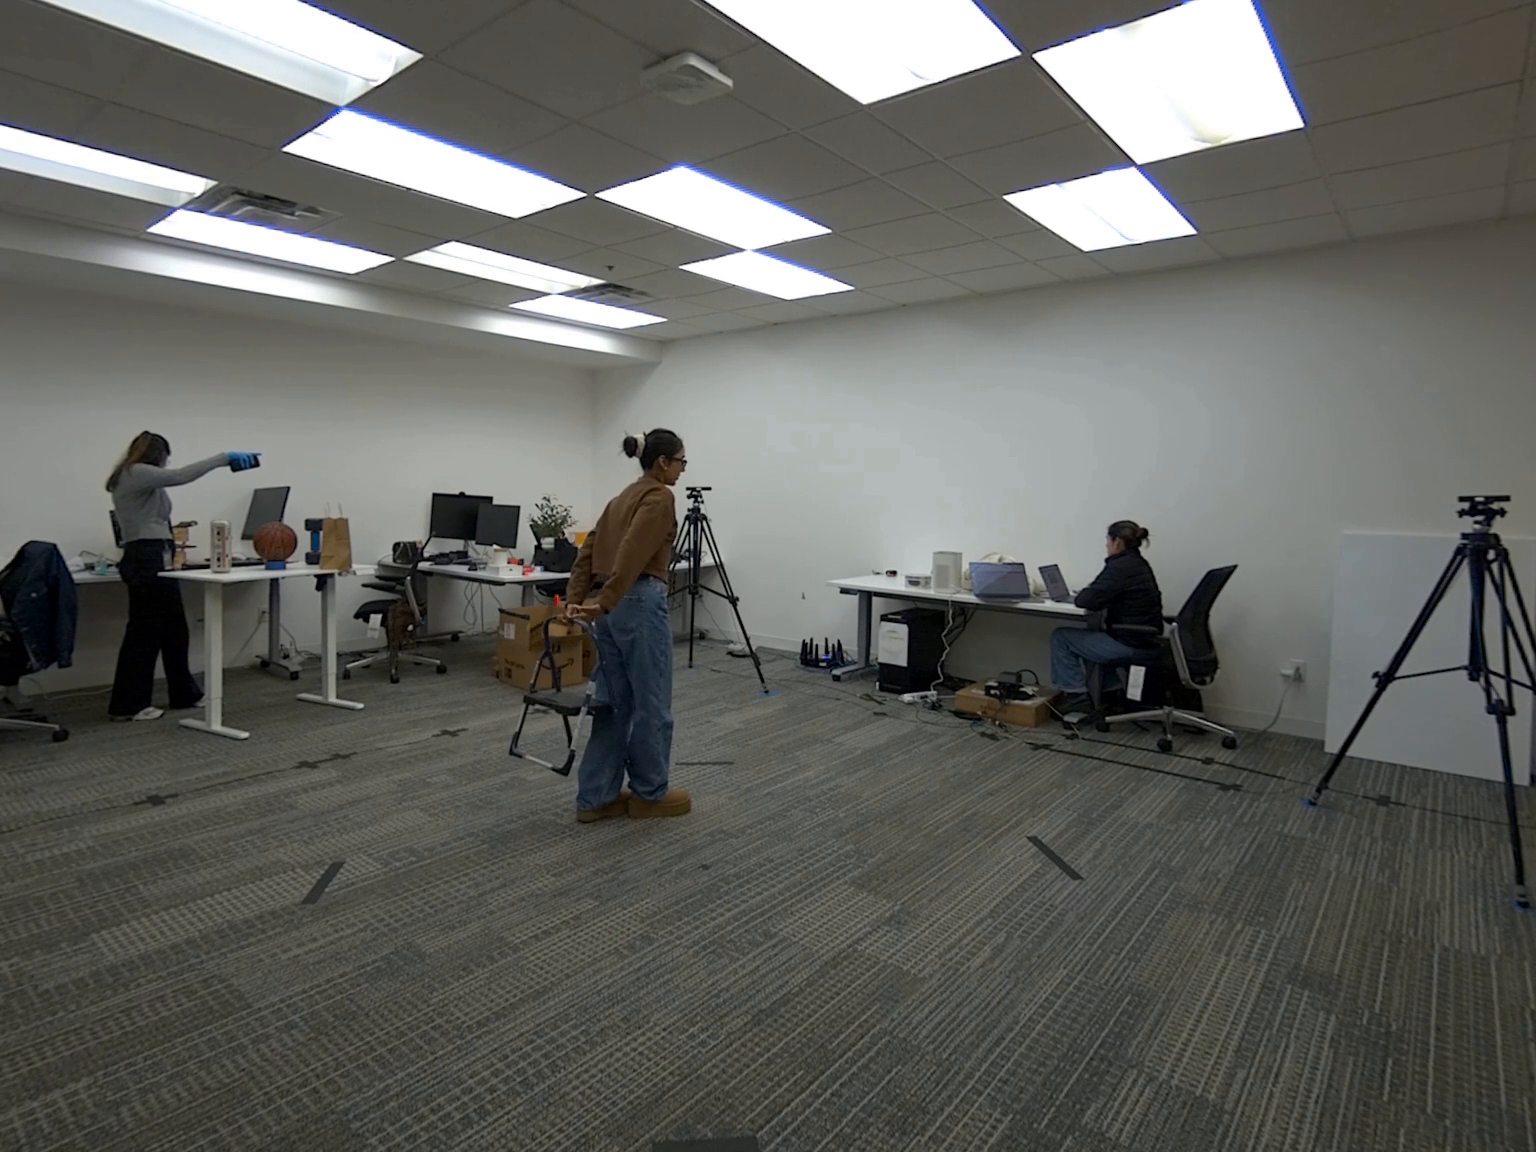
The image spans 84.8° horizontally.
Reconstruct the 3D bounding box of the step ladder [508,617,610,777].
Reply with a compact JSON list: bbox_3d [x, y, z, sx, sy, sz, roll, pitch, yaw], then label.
[{"bbox_3d":[-0.837,0.478,3.581,0.445,0.607,0.337,2,-3,43],"label":"step ladder"}]
